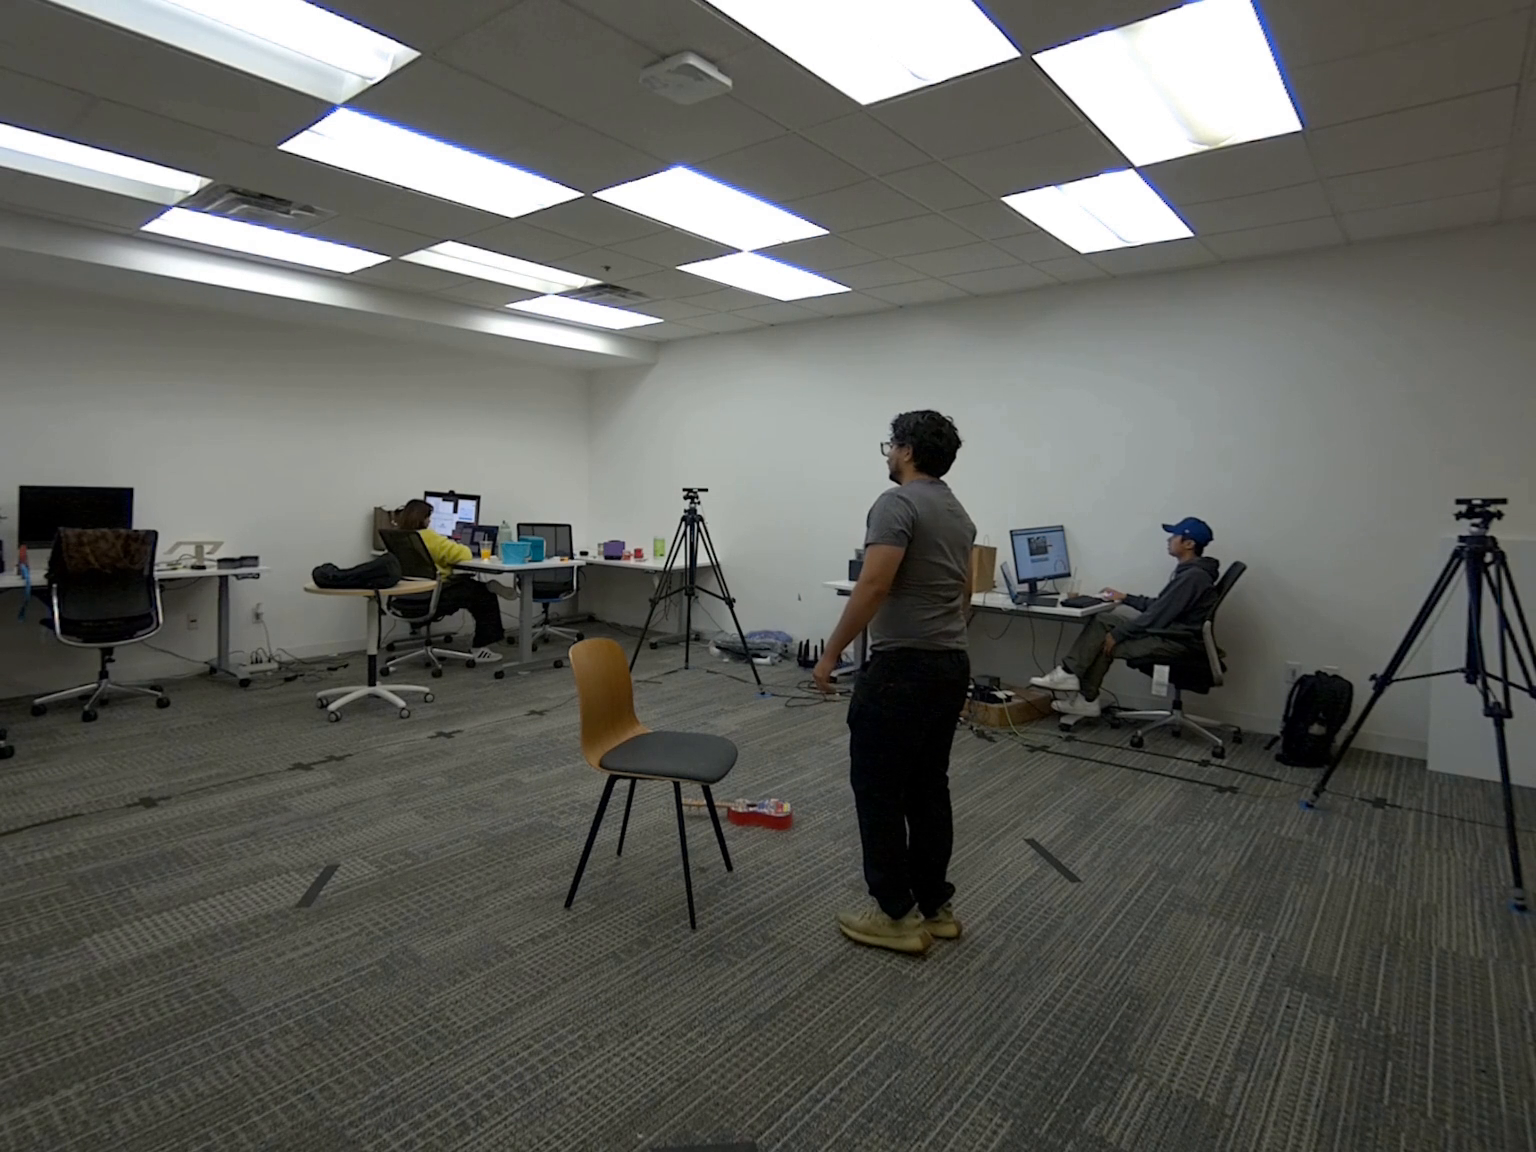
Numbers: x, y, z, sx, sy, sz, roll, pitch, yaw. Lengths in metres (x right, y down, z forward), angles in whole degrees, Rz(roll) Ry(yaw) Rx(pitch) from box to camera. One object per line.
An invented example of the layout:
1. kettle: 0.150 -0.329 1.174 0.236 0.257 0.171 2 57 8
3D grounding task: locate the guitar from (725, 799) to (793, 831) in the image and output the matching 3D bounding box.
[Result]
1. guitar: -0.148 0.988 3.627 0.505 0.070 0.191 3 6 13
